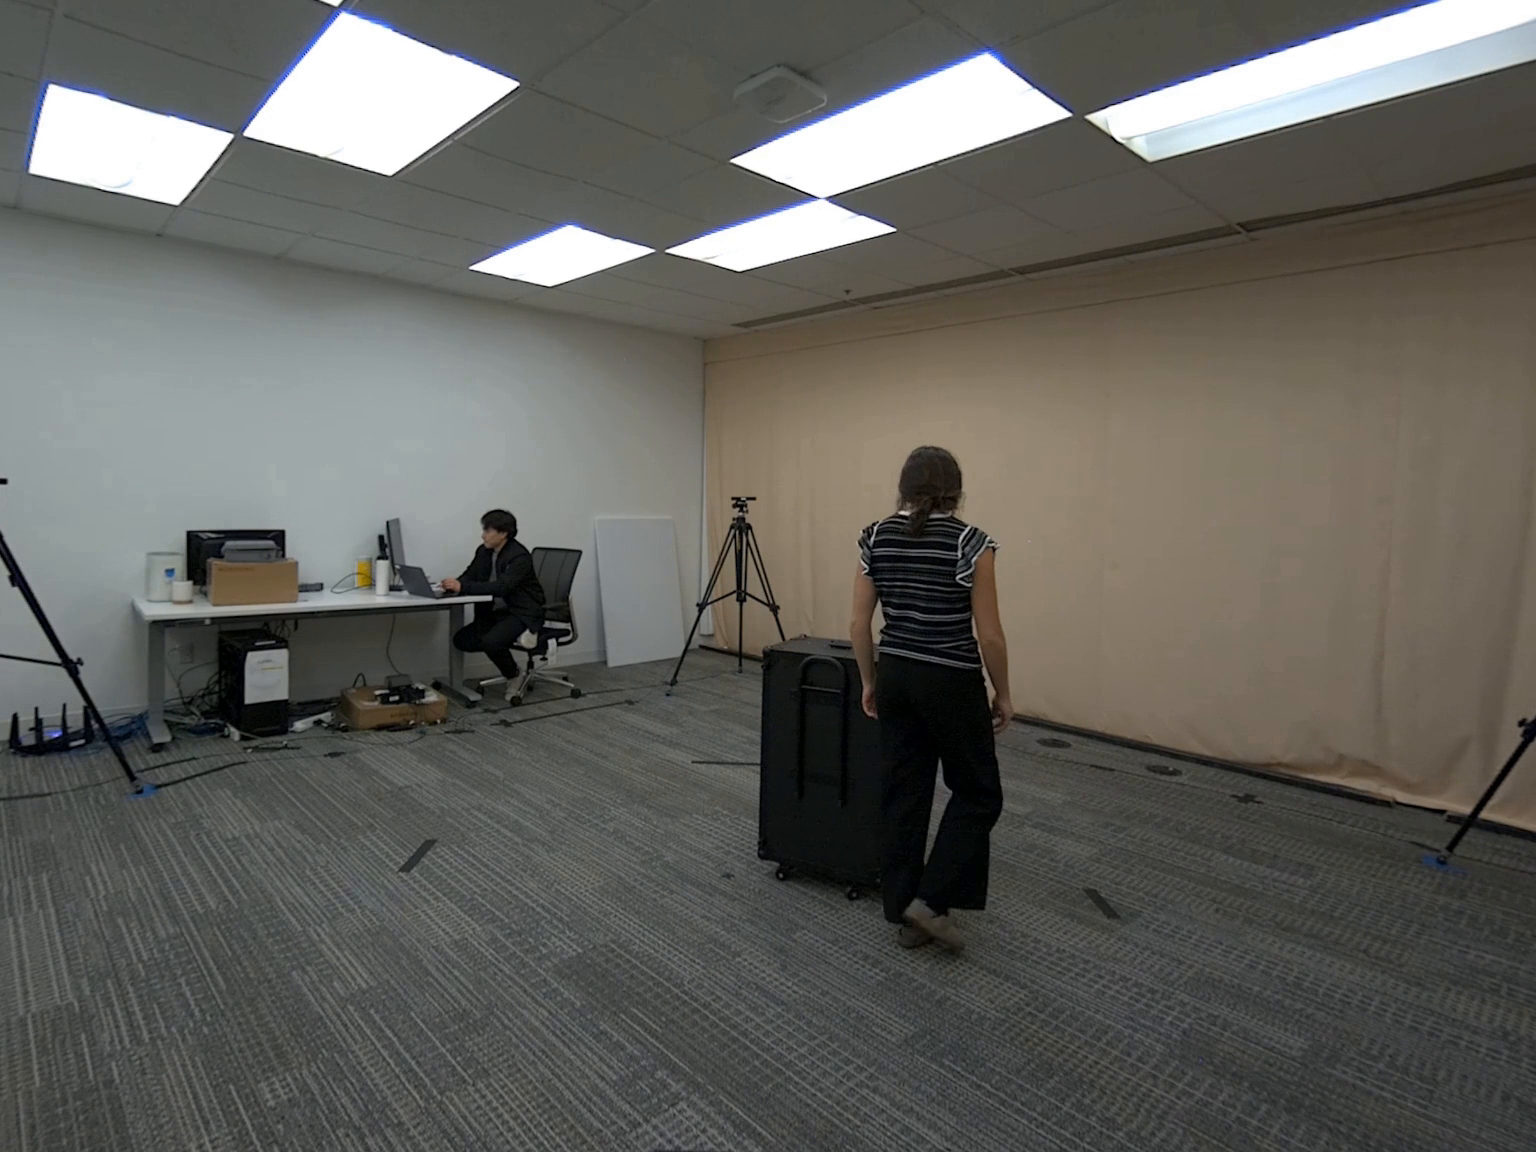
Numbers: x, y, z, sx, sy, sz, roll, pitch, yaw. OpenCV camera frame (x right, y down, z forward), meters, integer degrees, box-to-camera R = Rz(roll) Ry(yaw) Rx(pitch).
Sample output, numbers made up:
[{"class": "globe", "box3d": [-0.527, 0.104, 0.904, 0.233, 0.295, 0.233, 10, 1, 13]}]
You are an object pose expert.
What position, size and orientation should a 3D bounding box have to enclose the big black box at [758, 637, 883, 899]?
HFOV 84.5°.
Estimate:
[{"class": "big black box", "box3d": [0.255, 0.691, 3.108, 0.532, 0.859, 0.389, 4, 4, 27]}]
